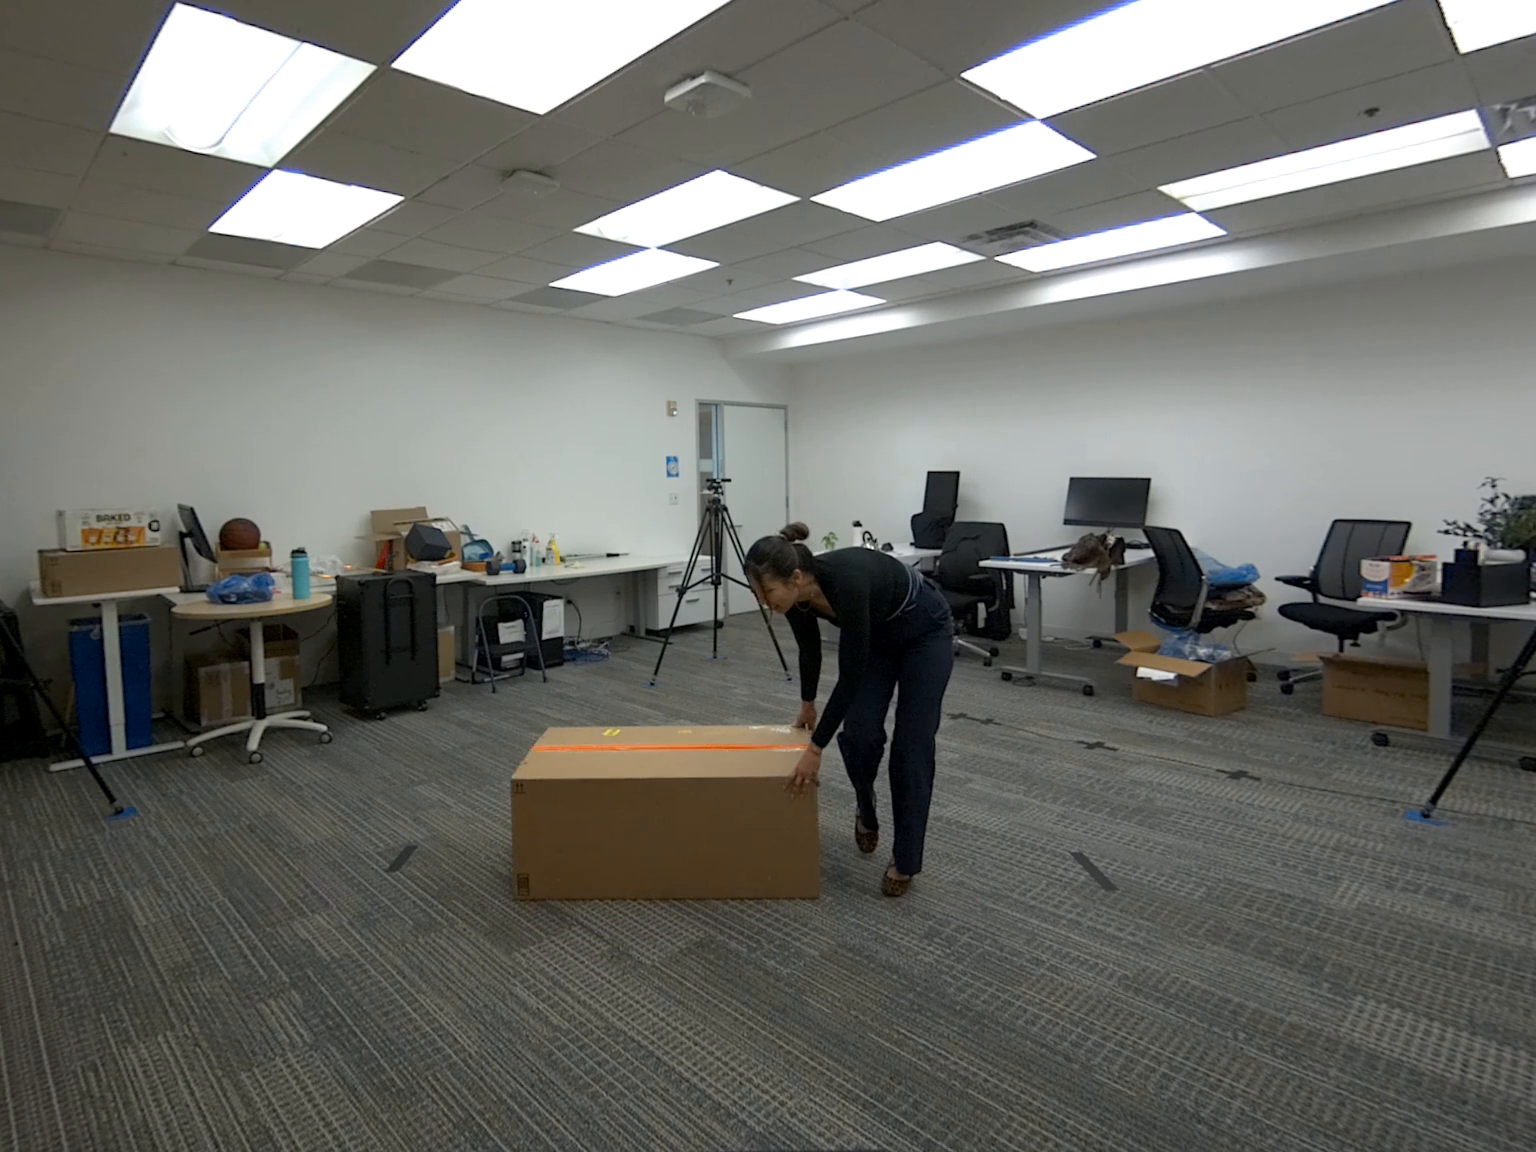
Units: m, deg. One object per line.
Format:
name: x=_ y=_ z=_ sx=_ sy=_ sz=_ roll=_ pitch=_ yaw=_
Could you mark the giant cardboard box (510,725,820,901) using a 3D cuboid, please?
giant cardboard box: x=-0.350 y=0.834 z=3.109 sx=1.026 sy=0.424 sz=0.580 roll=-1 pitch=5 yaw=0
